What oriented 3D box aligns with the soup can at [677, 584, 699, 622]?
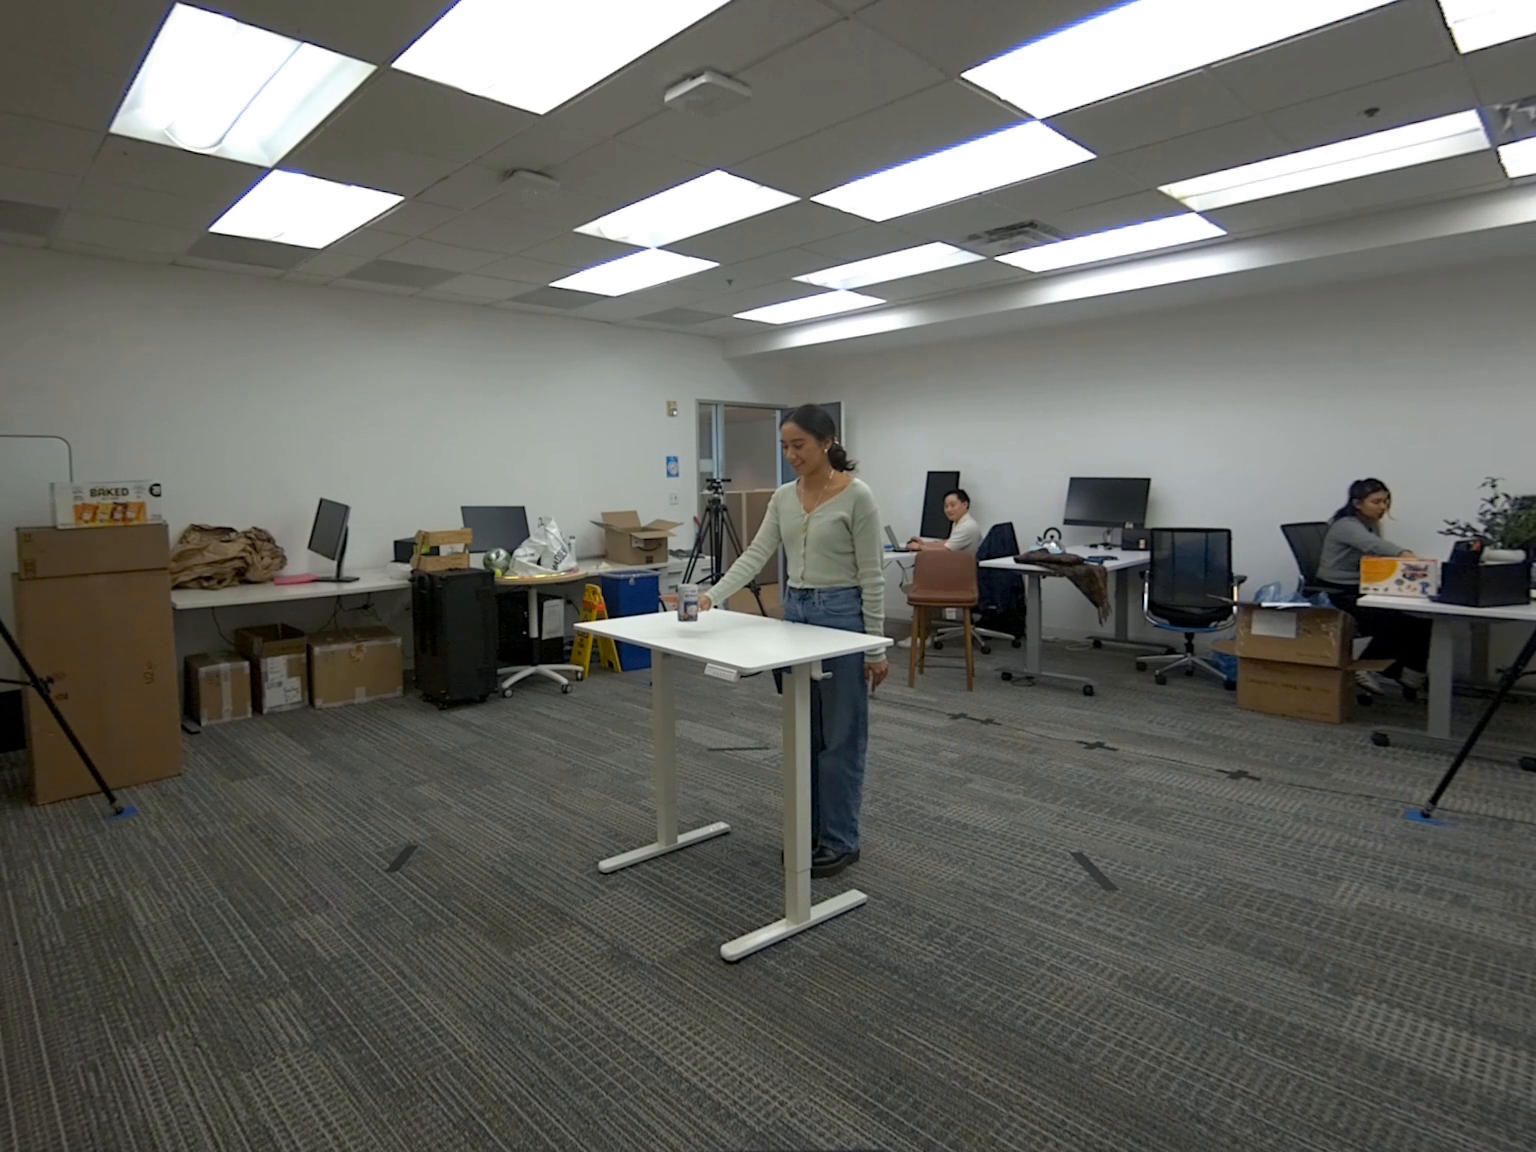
[{"bbox_3d":[-0.259,0.086,2.791,0.067,0.121,0.067,2,2,-2],"label":"soup can"}]
